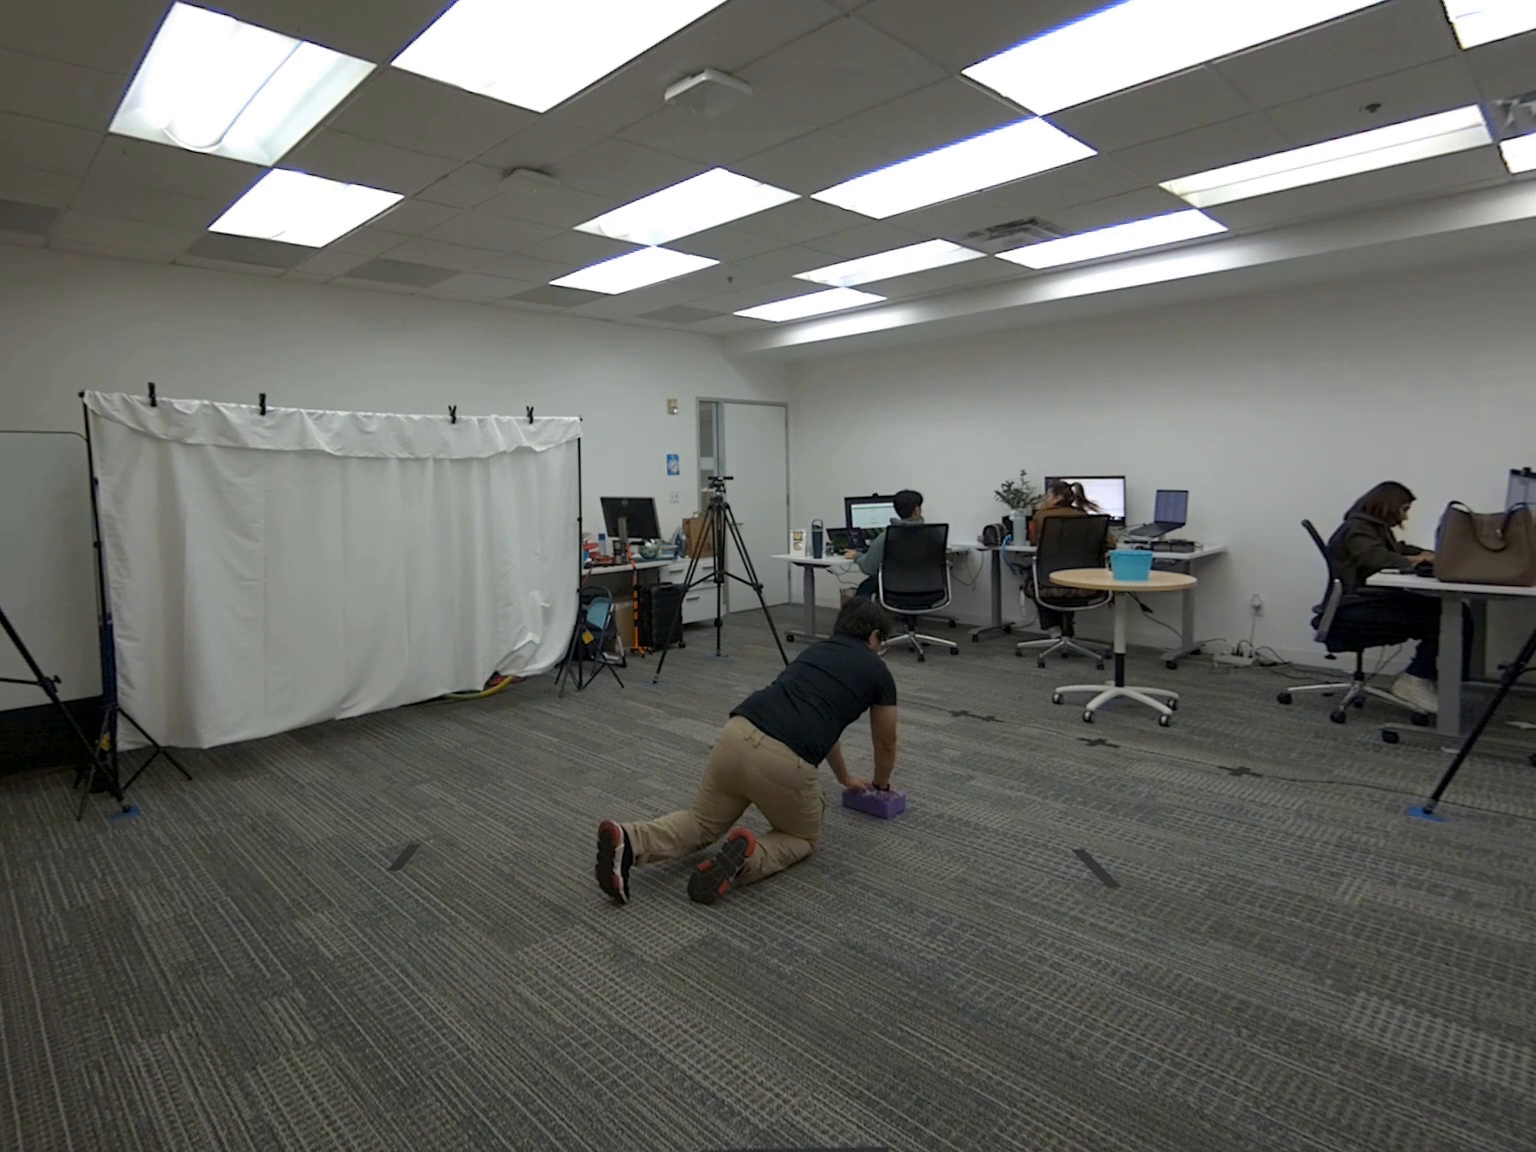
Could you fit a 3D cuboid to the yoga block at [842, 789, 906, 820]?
[{"bbox_3d":[0.443,0.934,3.582,0.236,0.076,0.145,5,7,43],"label":"yoga block"}]
